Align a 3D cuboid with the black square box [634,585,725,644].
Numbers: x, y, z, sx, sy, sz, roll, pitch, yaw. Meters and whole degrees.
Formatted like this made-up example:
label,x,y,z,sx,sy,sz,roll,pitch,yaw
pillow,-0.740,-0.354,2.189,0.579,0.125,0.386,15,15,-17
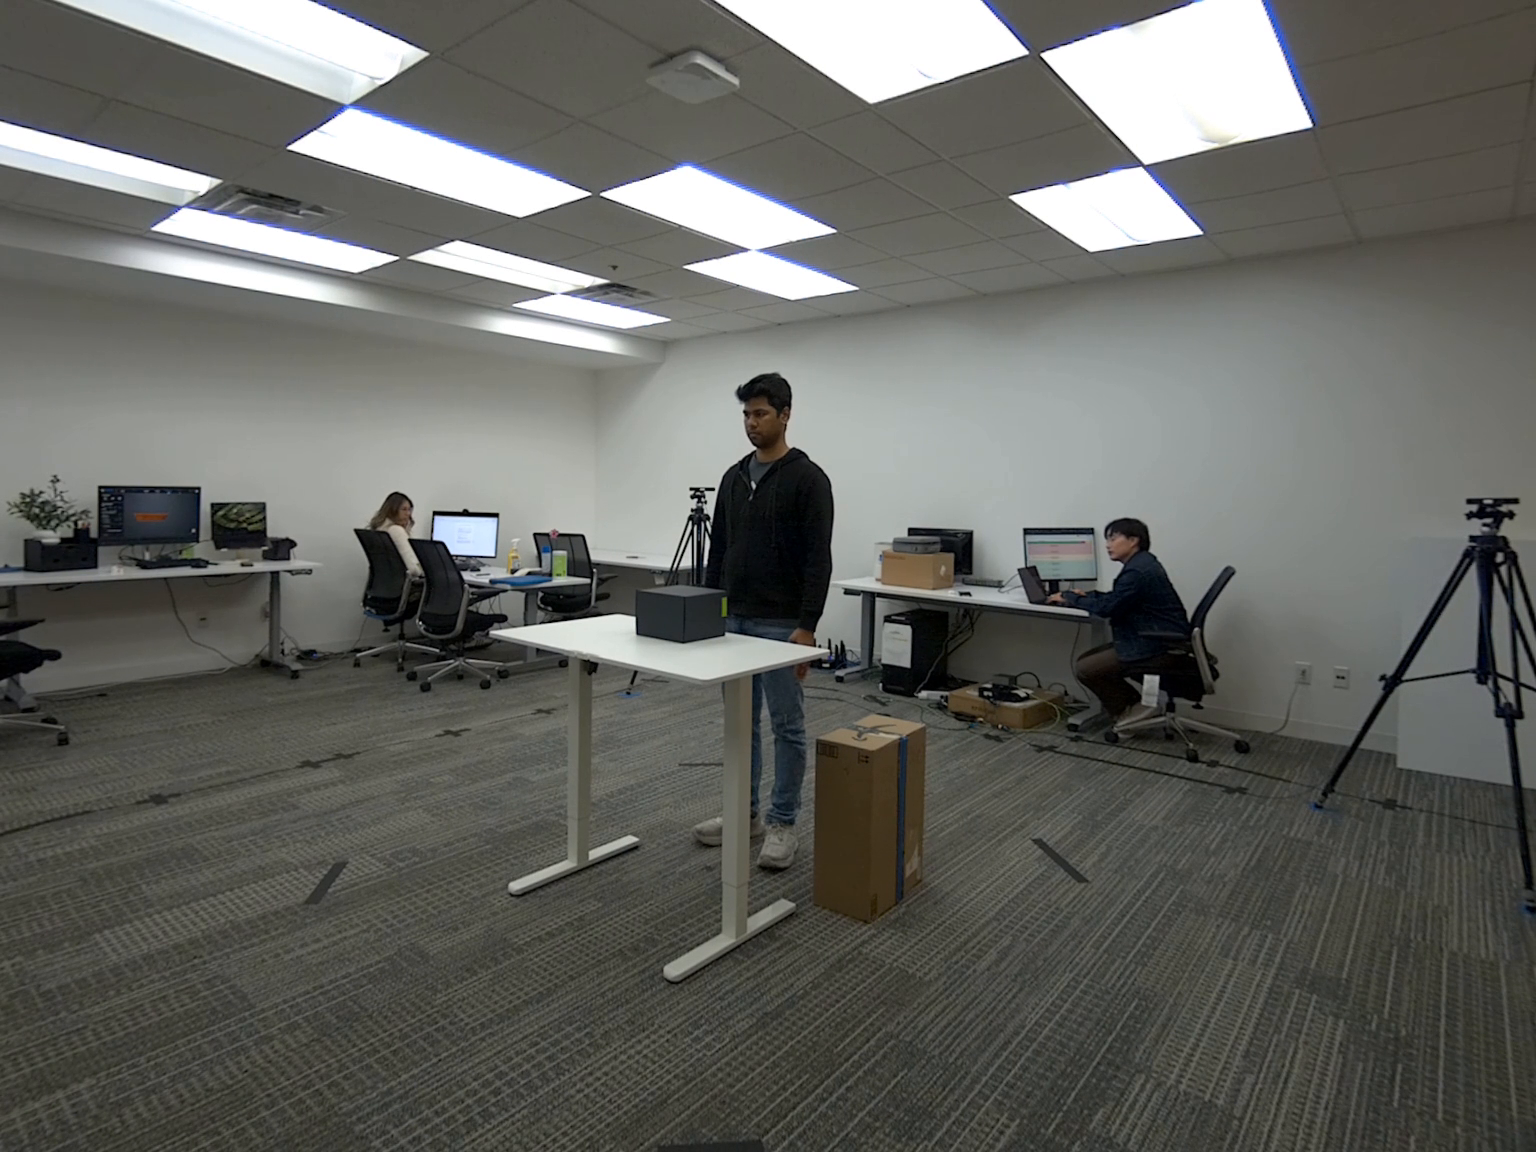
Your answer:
label,x,y,z,sx,sy,sz,roll,pitch,yaw
black square box,-0.302,0.122,2.908,0.235,0.155,0.211,5,6,38
